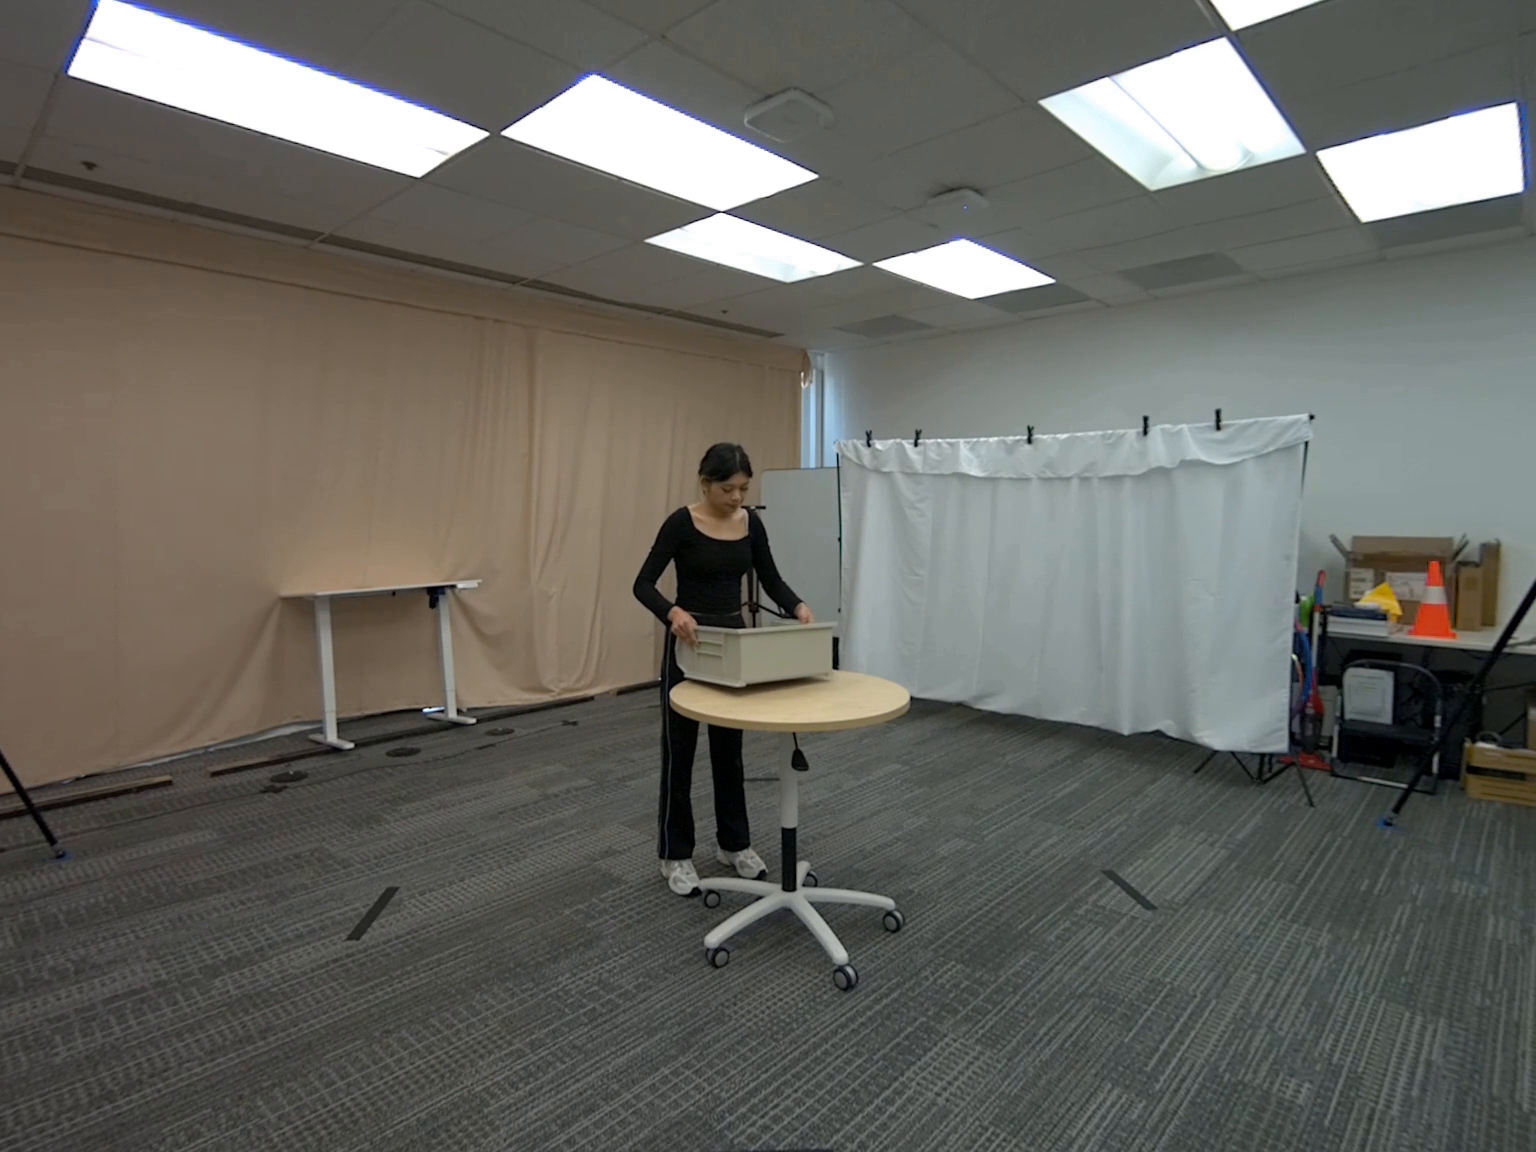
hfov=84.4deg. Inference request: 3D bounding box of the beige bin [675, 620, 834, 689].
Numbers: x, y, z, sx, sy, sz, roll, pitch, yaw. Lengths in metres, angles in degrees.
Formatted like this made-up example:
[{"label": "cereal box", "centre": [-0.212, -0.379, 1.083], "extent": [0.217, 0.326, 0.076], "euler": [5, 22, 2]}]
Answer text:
[{"label": "beige bin", "centre": [-0.045, 0.249, 2.881], "extent": [0.409, 0.189, 0.389], "euler": [0, 2, -36]}]
